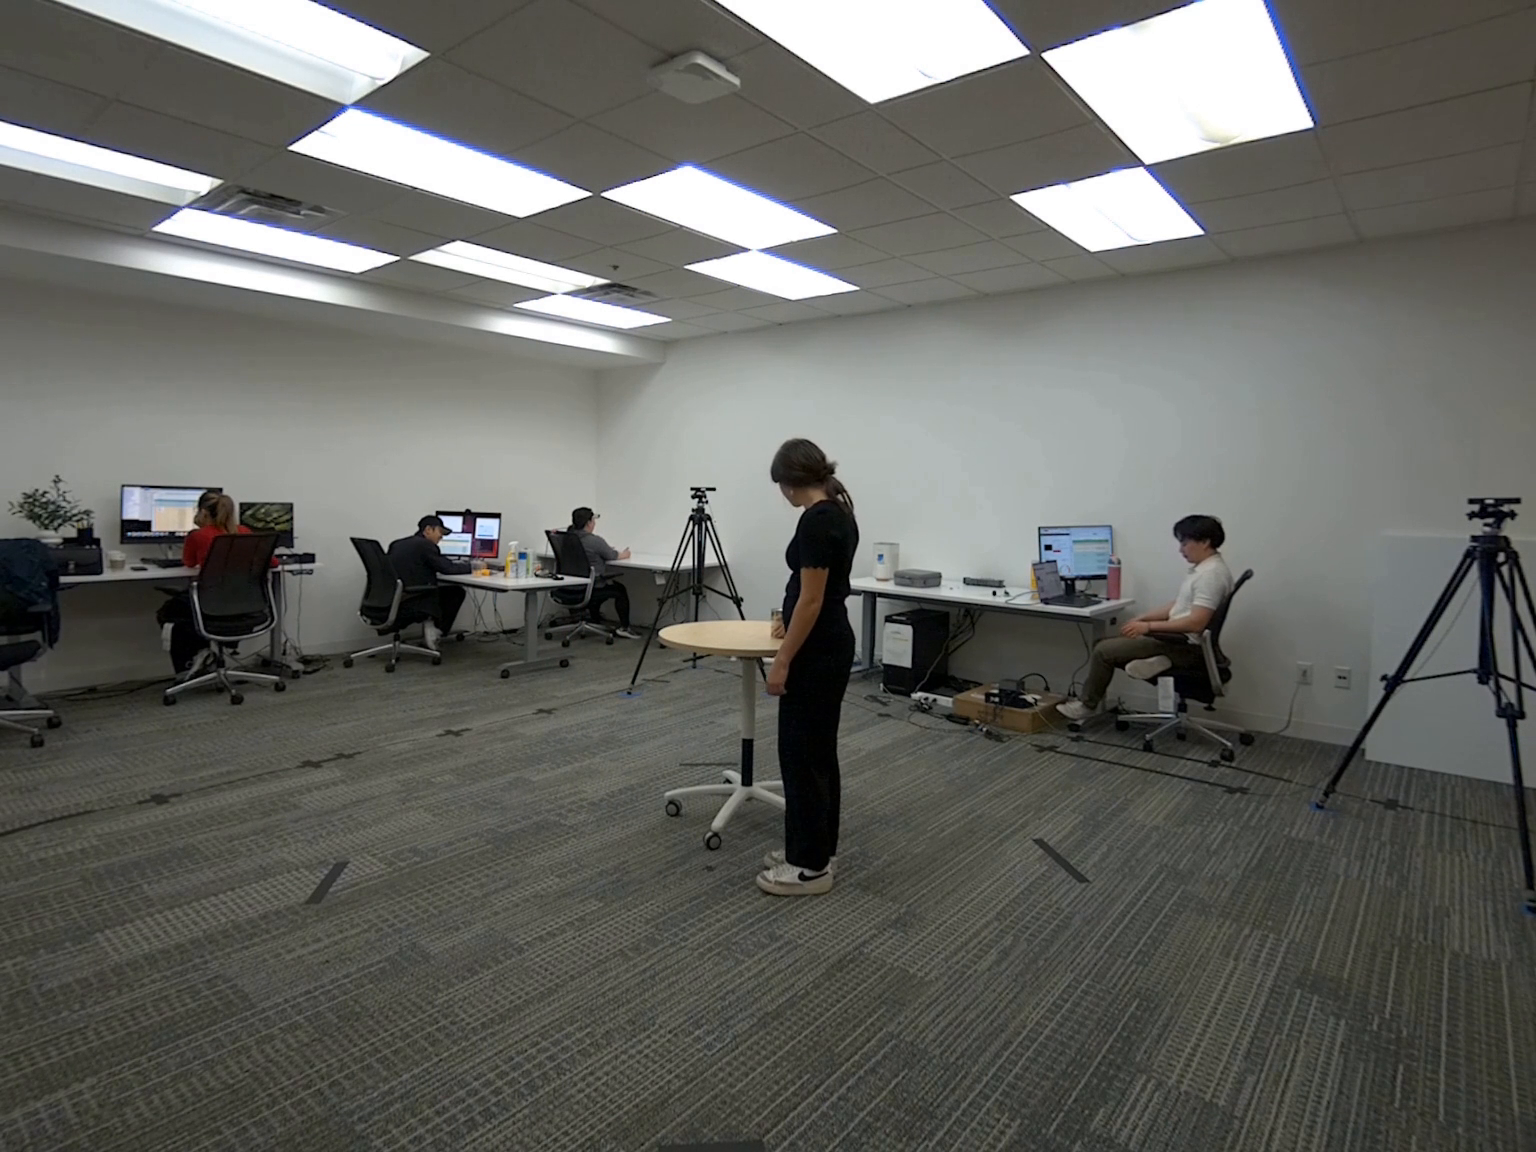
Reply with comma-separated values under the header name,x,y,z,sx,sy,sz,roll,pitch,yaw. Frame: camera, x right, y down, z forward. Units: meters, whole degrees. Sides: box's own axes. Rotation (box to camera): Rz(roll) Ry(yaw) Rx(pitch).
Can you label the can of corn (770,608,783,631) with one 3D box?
name,x,y,z,sx,sy,sz,roll,pitch,yaw
can of corn,0.043,0.192,3.500,0.074,0.111,0.074,6,2,-2
